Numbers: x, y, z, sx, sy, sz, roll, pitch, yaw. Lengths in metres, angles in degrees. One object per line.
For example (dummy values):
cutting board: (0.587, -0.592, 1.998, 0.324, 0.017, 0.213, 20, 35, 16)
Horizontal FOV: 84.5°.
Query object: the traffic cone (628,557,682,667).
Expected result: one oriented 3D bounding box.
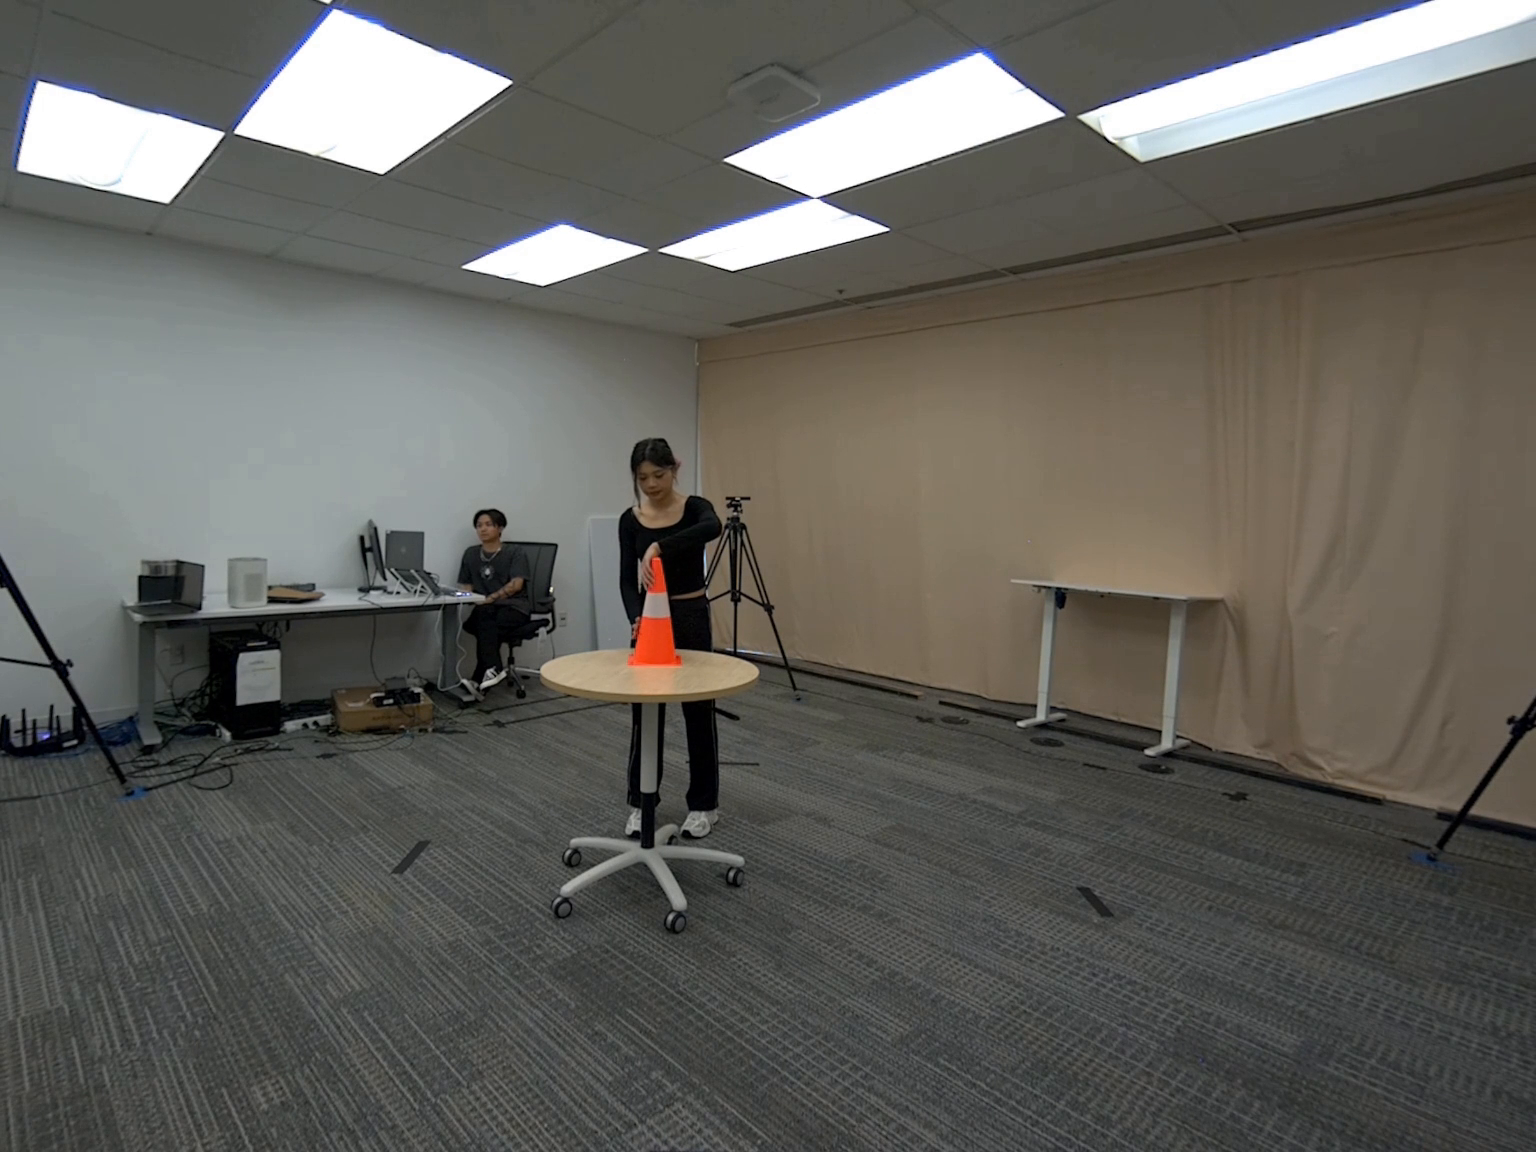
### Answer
traffic cone: (-0.430, 0.127, 3.111, 0.203, 0.383, 0.205, 2, 3, -11)
